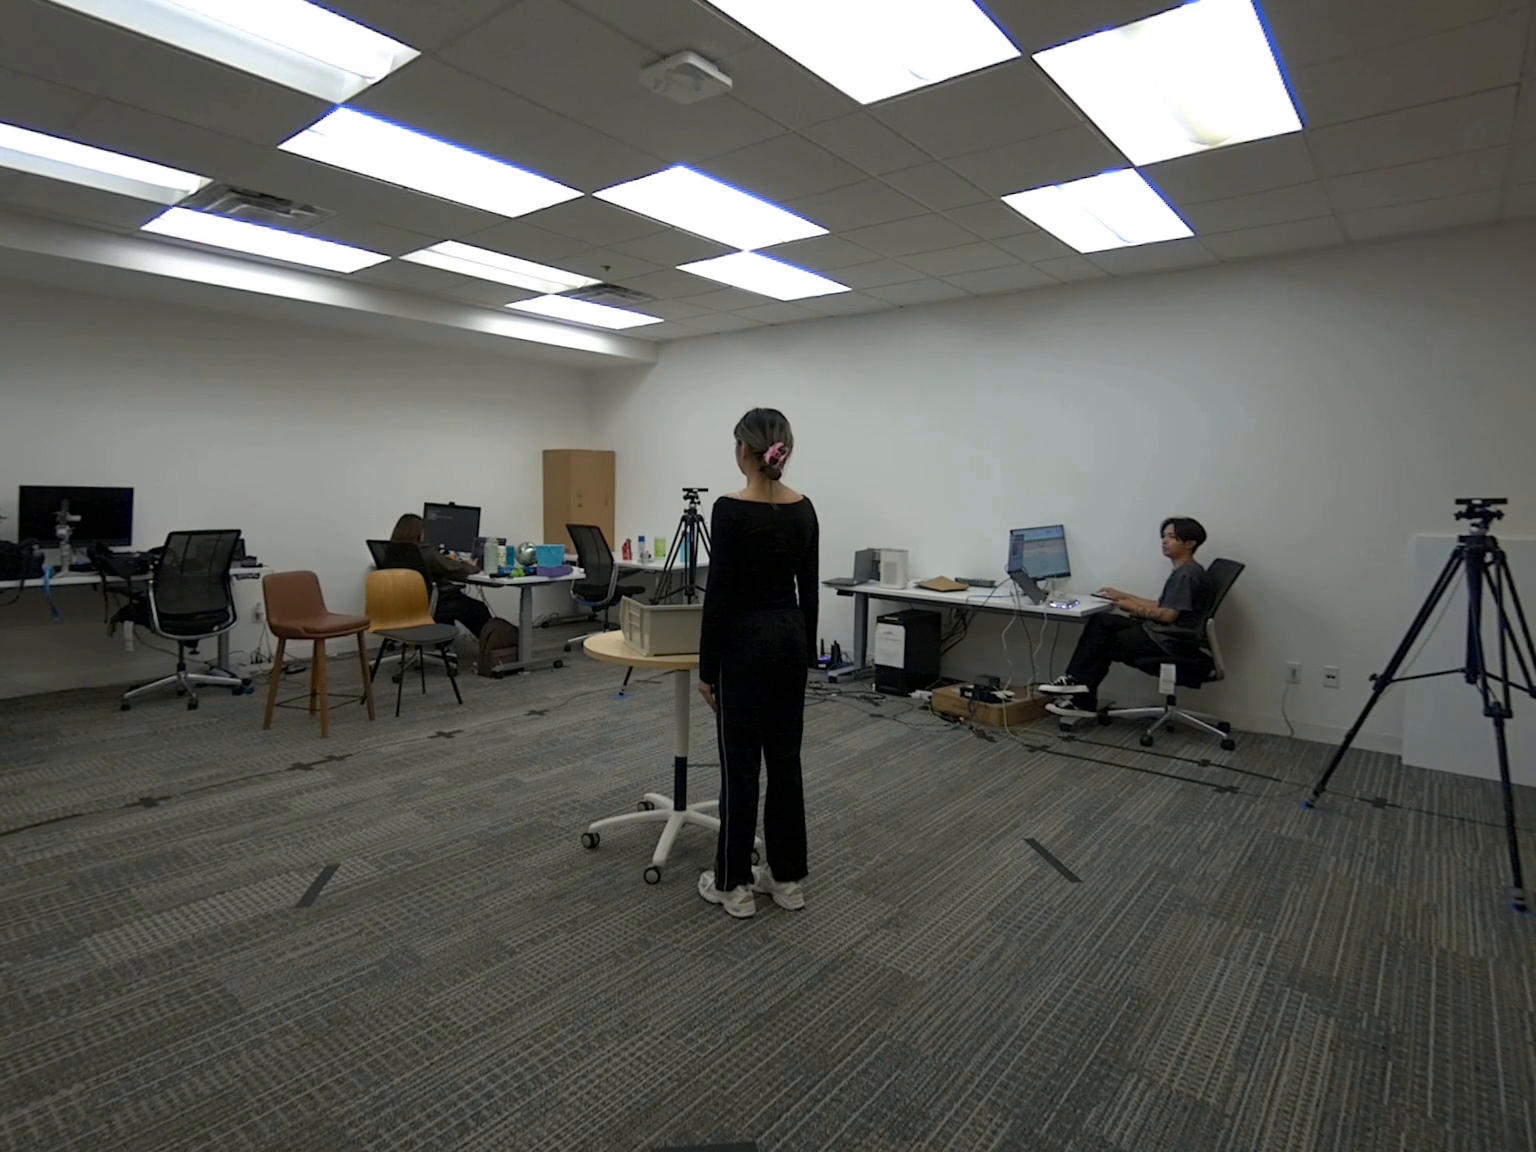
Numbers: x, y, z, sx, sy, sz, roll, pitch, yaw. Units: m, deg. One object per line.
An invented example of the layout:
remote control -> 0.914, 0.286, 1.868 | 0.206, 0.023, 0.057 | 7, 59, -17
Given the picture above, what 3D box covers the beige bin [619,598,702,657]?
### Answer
beige bin -> -0.323, 0.176, 3.205 | 0.413, 0.188, 0.387 | 0, 5, -22
